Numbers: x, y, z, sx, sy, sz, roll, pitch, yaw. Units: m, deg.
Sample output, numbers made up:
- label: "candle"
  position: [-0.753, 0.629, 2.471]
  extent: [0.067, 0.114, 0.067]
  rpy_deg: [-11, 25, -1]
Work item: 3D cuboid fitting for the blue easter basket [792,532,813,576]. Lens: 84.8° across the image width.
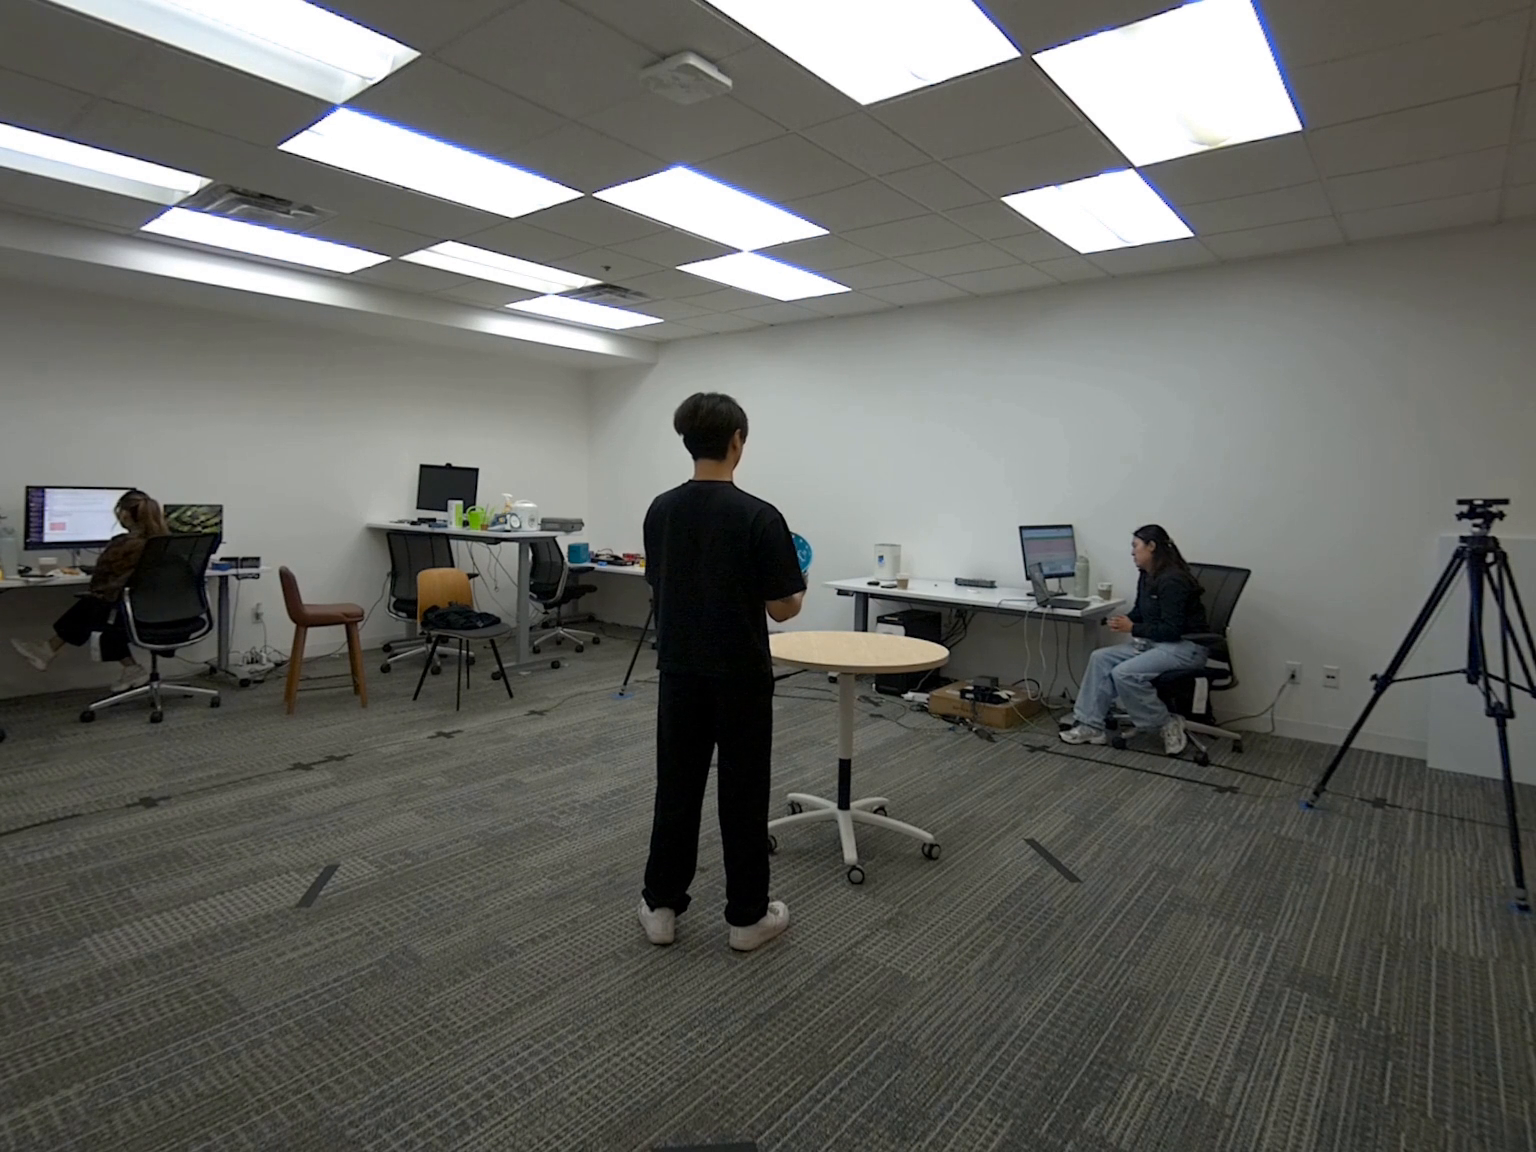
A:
- label: "blue easter basket"
  position: [0.034, -0.032, 2.916]
  extent: [0.243, 0.152, 0.251]
  rpy_deg: [1, 46, -3]
